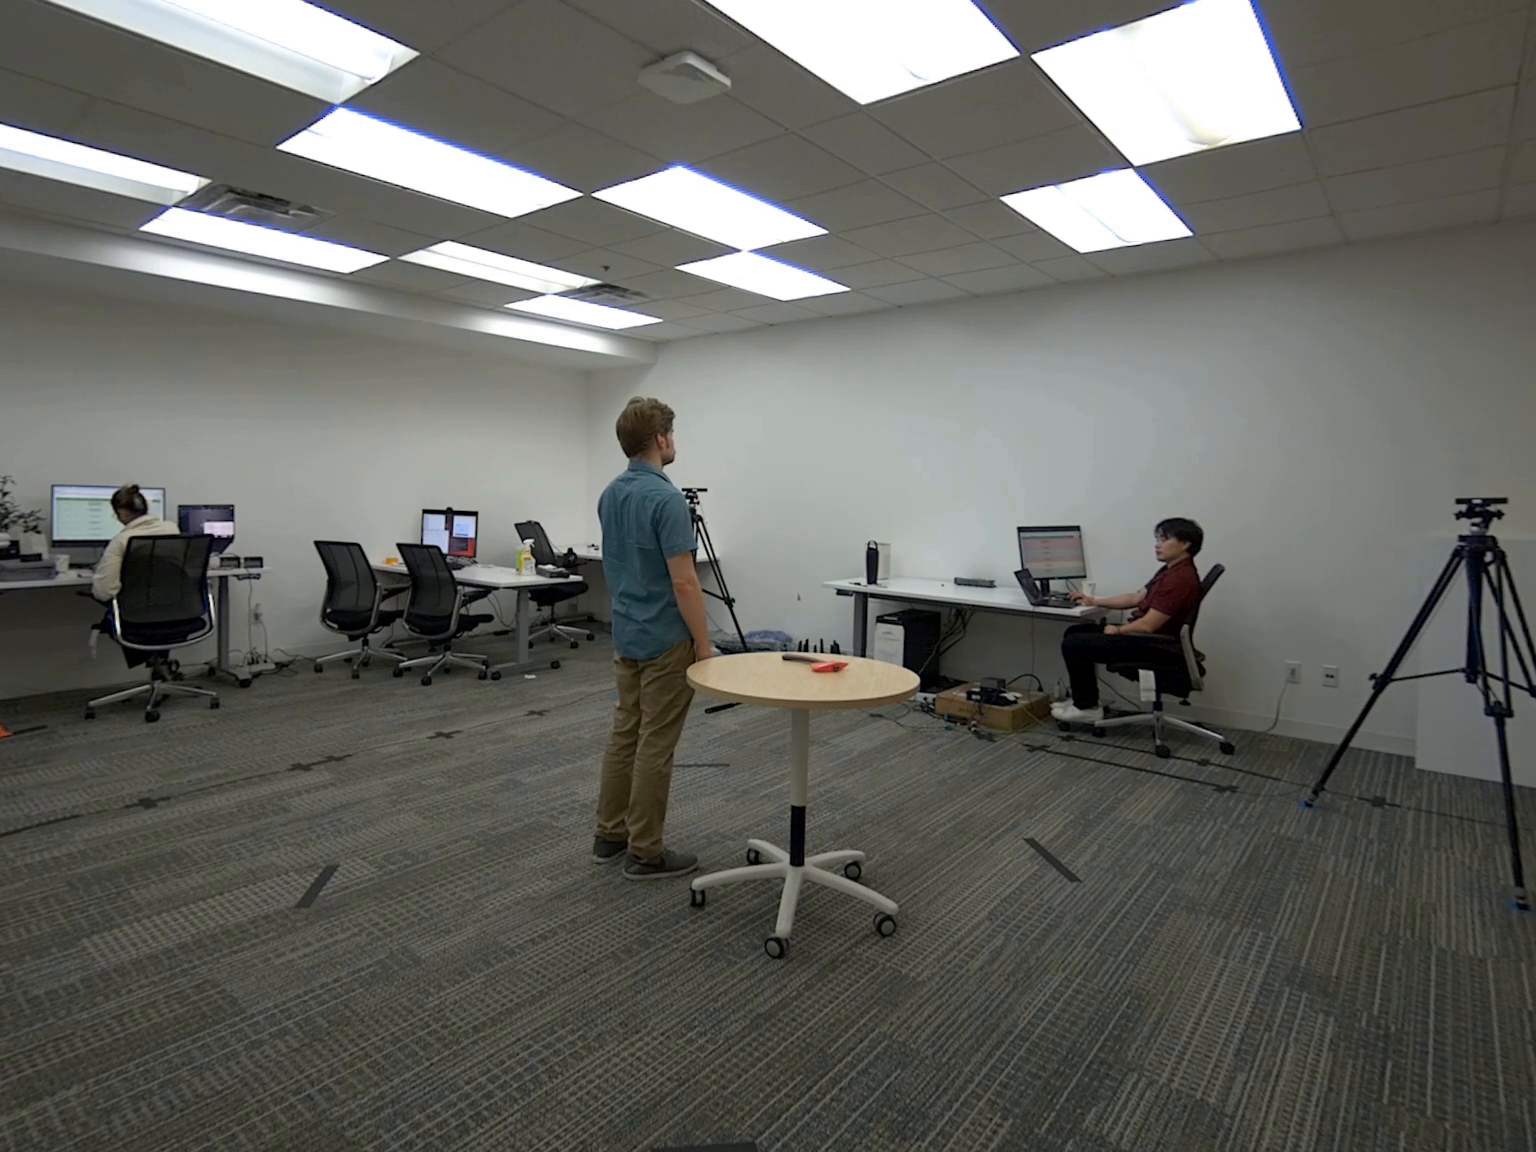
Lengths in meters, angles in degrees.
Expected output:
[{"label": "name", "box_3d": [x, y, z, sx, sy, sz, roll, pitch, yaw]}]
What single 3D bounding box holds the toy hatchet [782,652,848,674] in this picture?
[{"label": "toy hatchet", "box_3d": [0.132, 0.304, 2.933, 0.279, 0.029, 0.127, 3, 10, 42]}]
